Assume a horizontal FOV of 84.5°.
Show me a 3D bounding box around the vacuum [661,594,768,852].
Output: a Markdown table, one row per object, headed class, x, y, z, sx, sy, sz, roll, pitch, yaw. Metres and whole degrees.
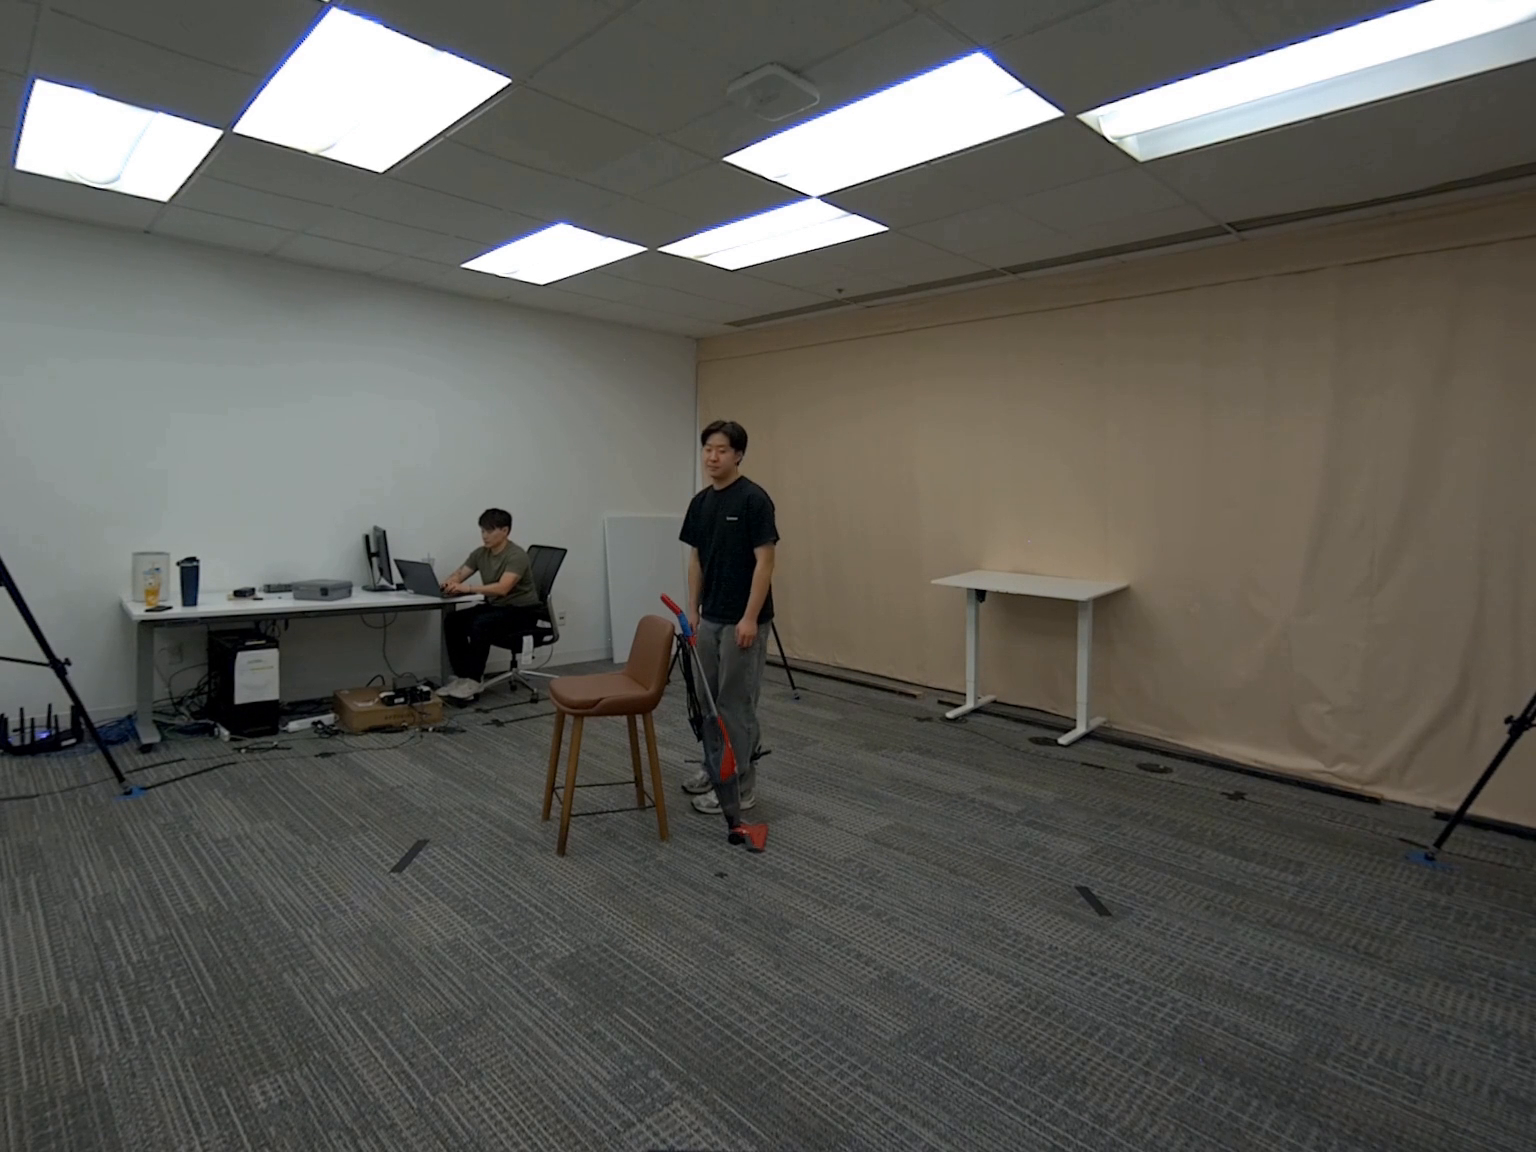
| class | x | y | z | sx | sy | sz | roll | pitch | yaw |
| --- | --- | --- | --- | --- | --- | --- | --- | --- | --- |
| vacuum | -0.268 | 0.577 | 3.451 | 0.144 | 1.051 | 0.252 | -18 | -2 | -2 |
